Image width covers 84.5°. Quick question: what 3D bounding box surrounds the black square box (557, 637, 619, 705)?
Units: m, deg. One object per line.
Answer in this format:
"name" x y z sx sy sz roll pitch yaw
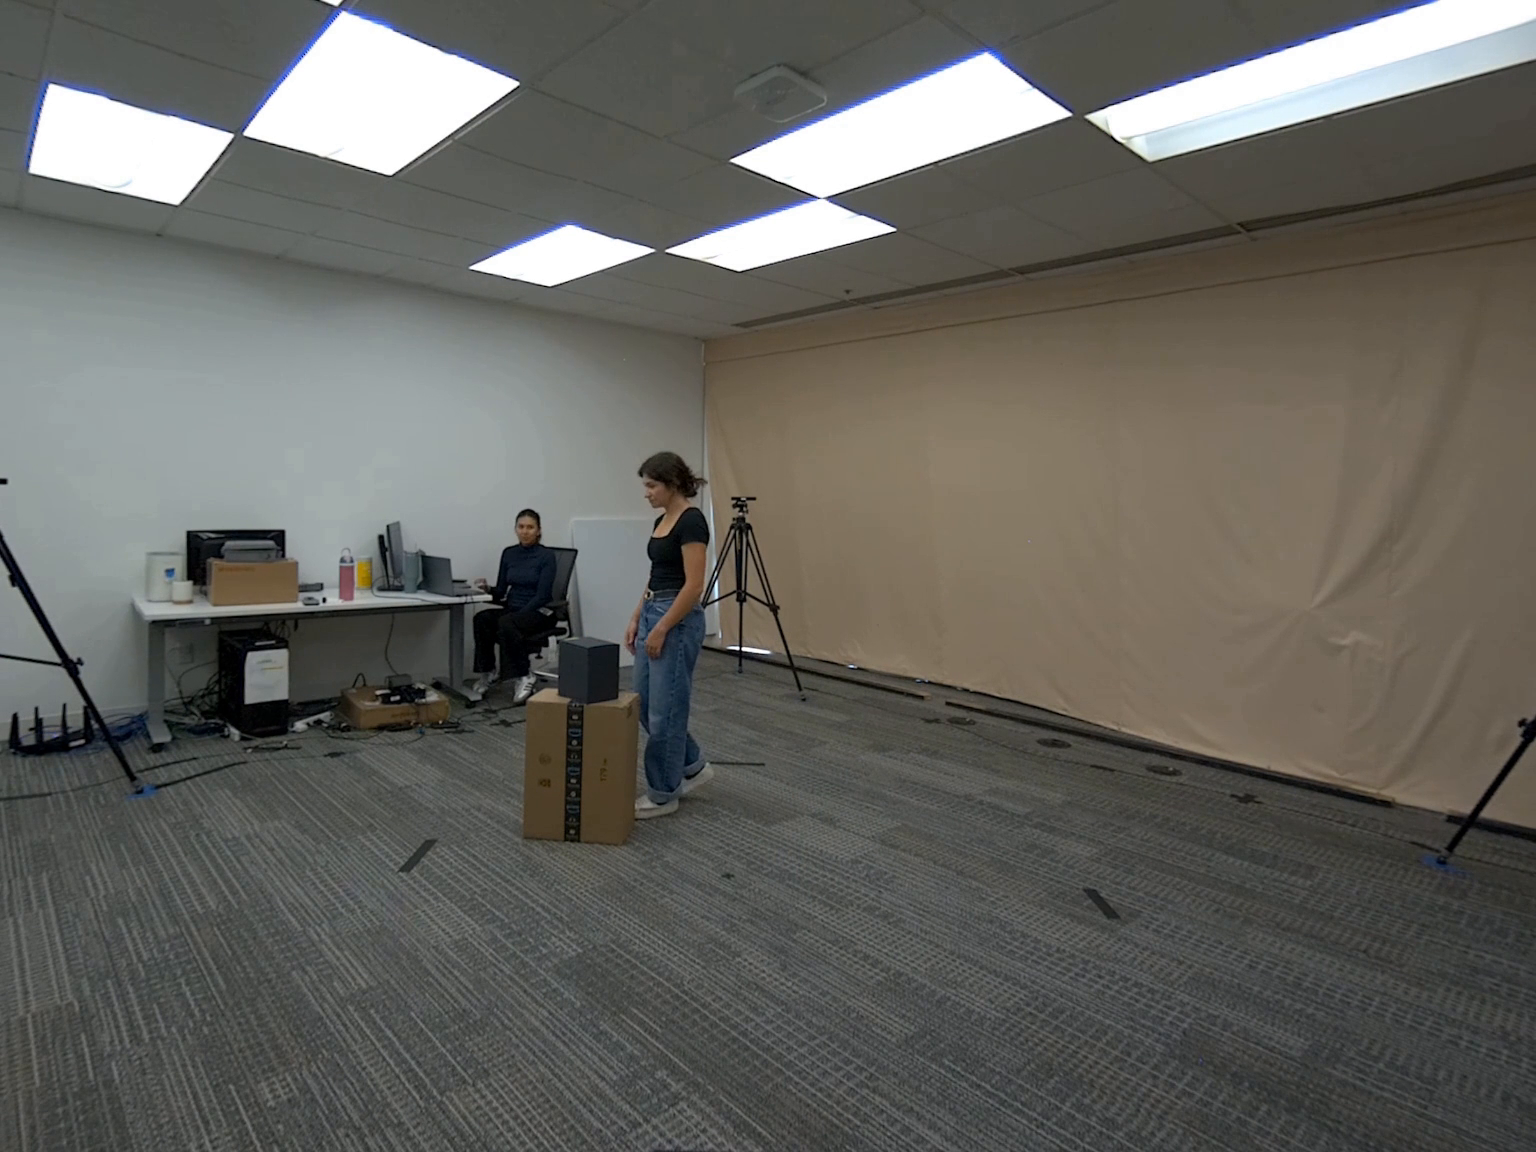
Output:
"black square box" -0.746 0.377 3.456 0.222 0.227 0.152 6 6 45
